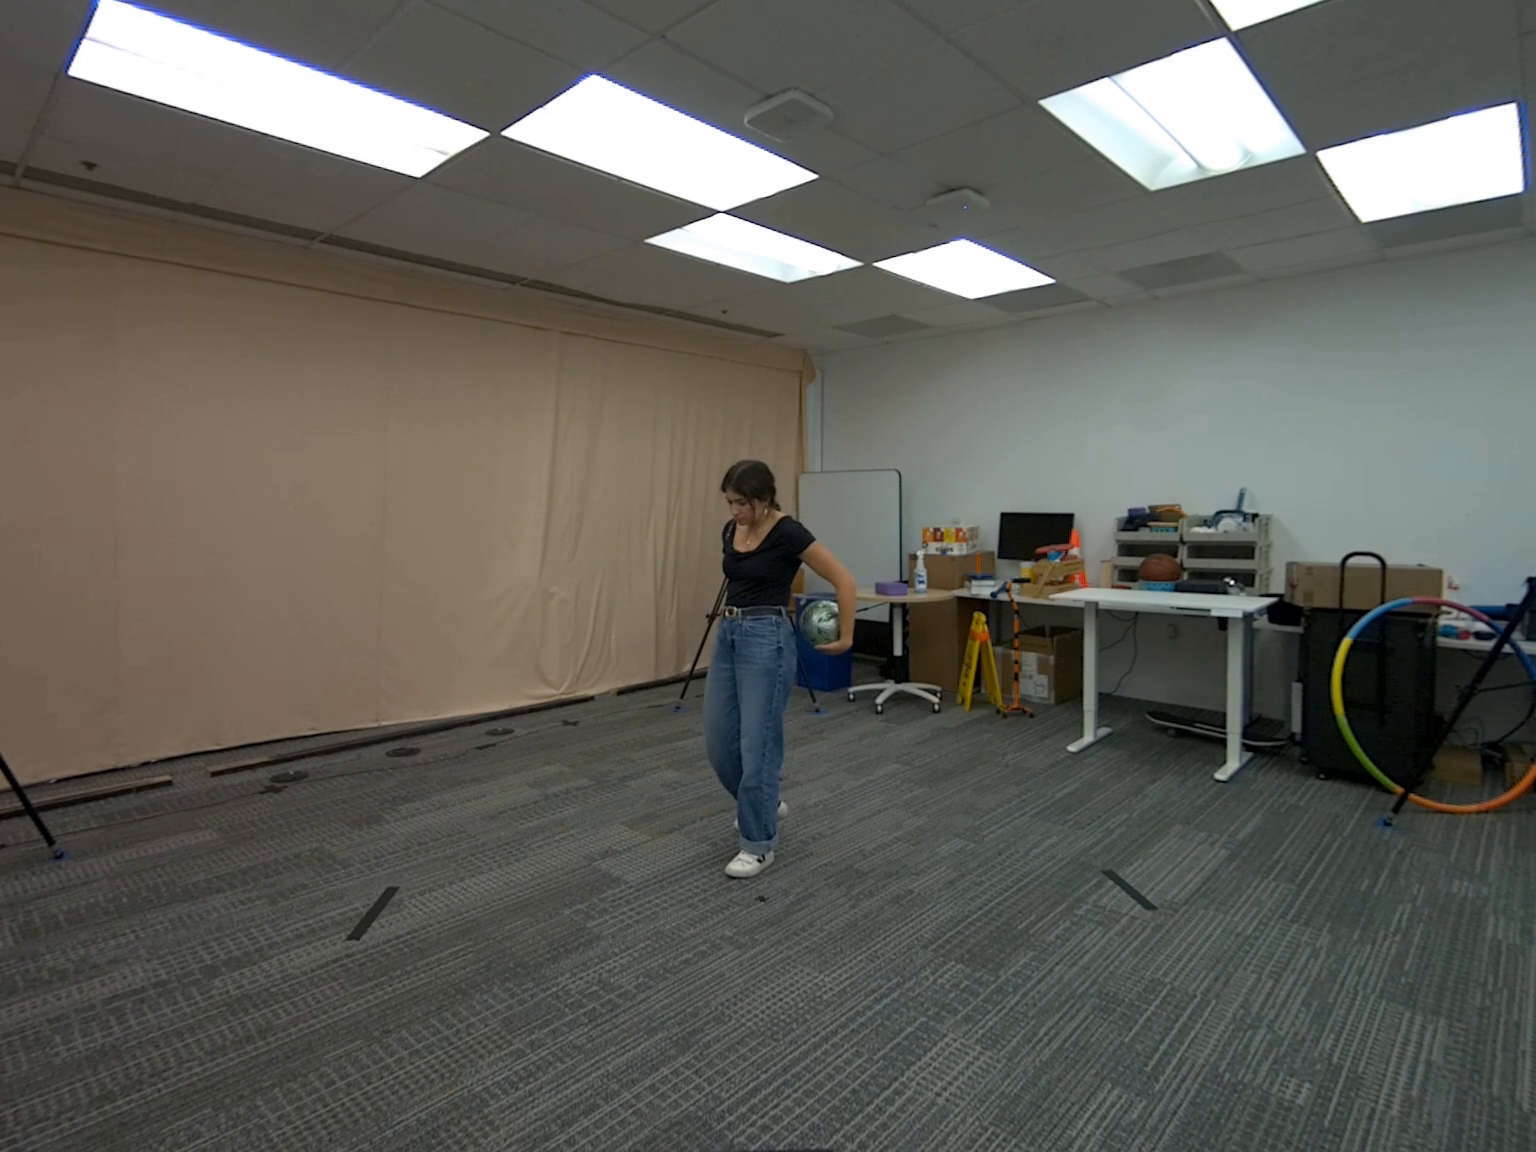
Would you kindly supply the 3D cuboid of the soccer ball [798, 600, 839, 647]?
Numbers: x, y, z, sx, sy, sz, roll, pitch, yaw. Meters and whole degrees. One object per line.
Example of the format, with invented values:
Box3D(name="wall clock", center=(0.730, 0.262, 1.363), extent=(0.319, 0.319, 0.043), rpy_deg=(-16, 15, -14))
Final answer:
Box3D(name="soccer ball", center=(0.203, 0.187, 3.240), extent=(0.187, 0.187, 0.188), rpy_deg=(0, 4, -2))
